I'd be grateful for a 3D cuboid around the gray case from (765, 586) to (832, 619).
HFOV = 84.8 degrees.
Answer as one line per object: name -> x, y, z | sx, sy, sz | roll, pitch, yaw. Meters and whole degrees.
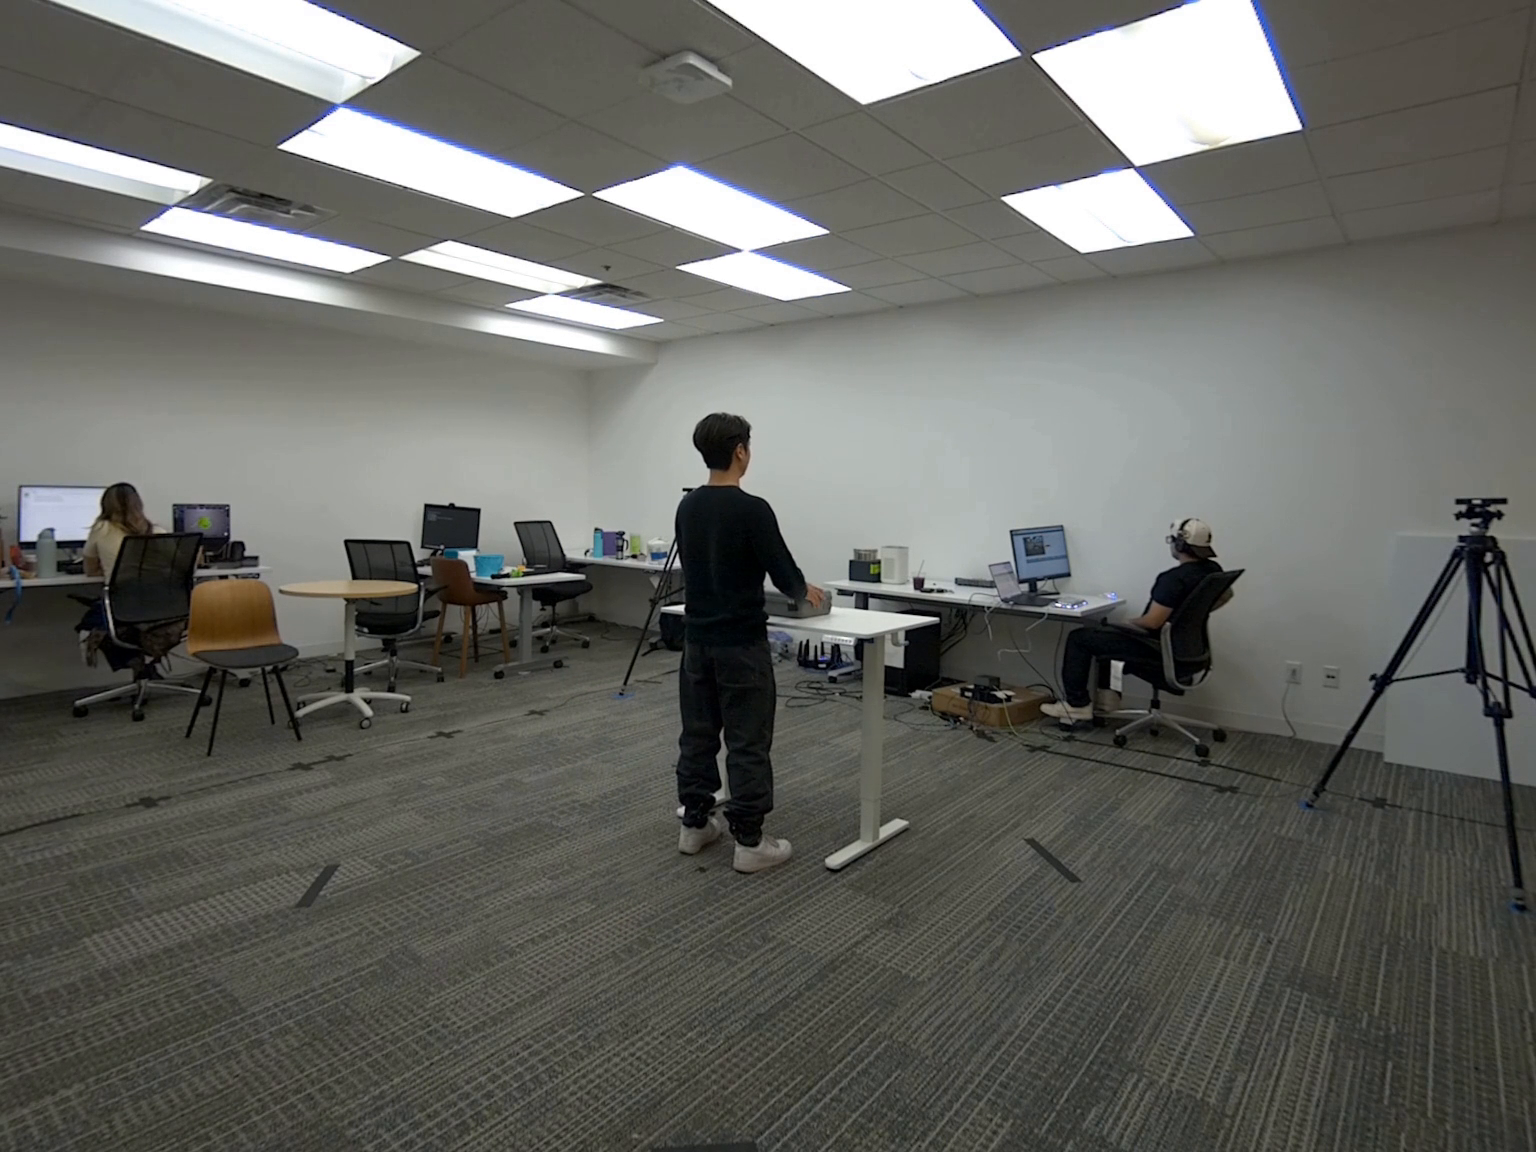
gray case -> 0.094, 0.103, 3.529 | 0.265, 0.104, 0.253 | 3, 4, 37
